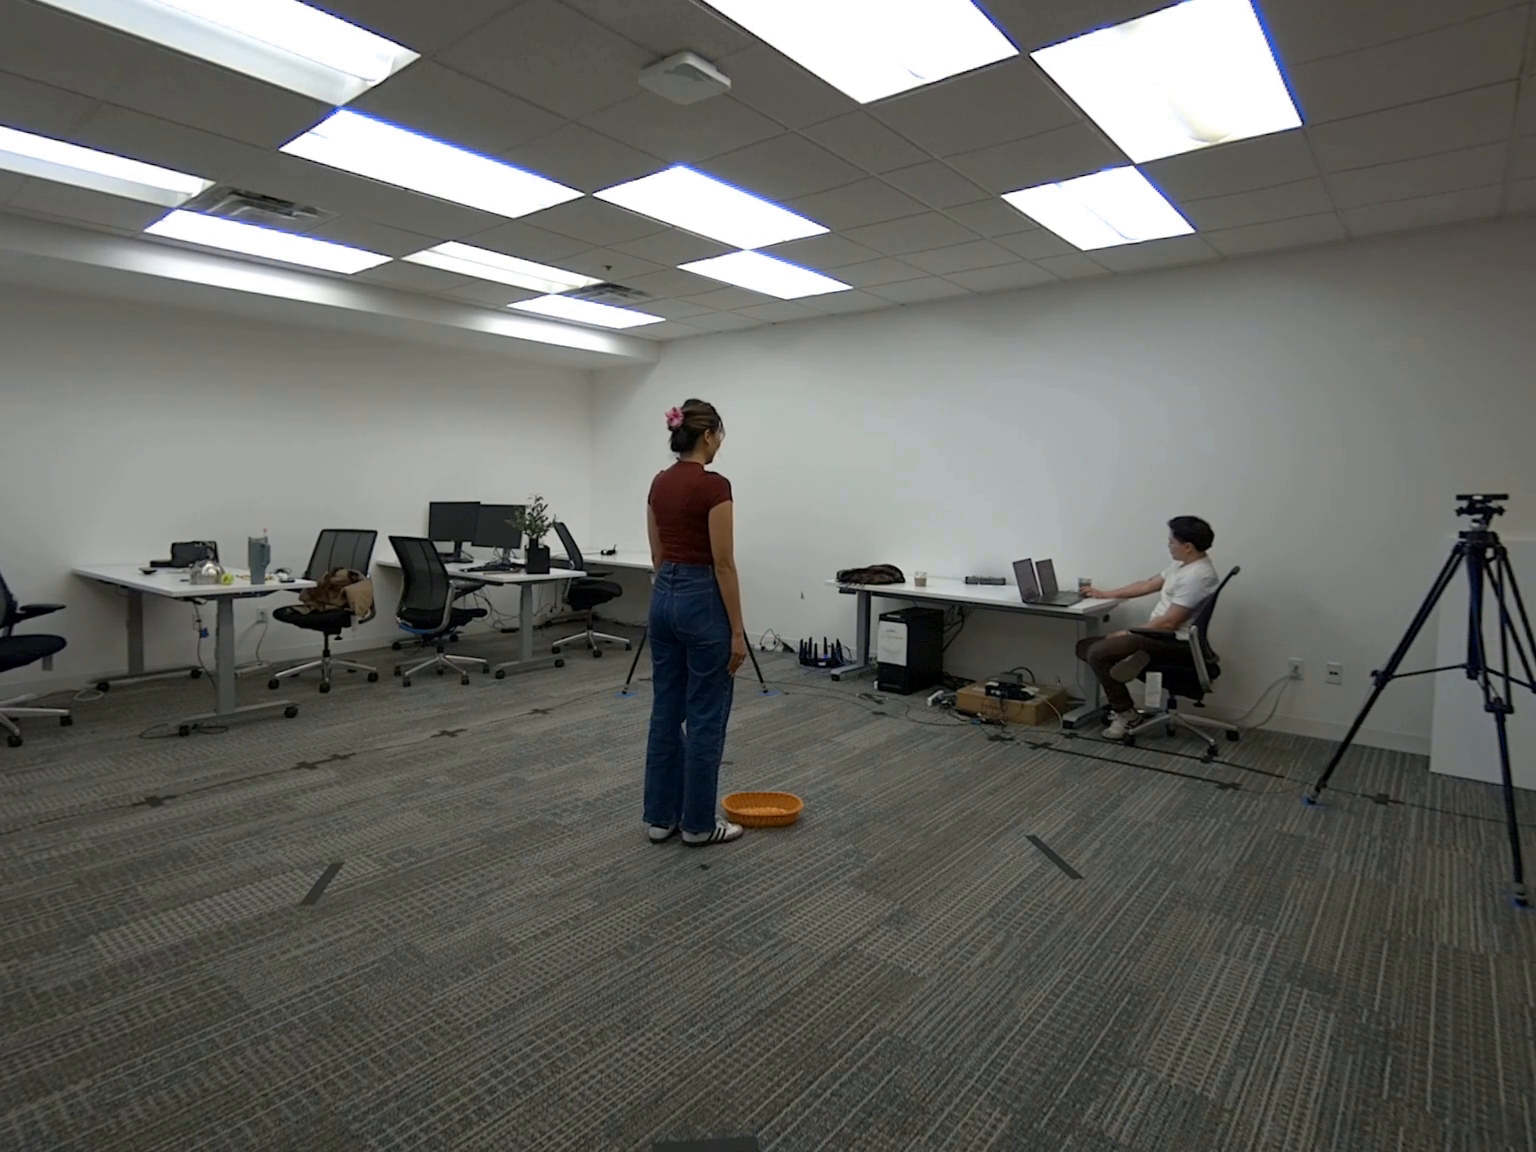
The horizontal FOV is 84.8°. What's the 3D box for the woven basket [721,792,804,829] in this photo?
[{"bbox_3d":[-0.033,0.981,3.580,0.349,0.073,0.255,0,7,-4],"label":"woven basket"}]
